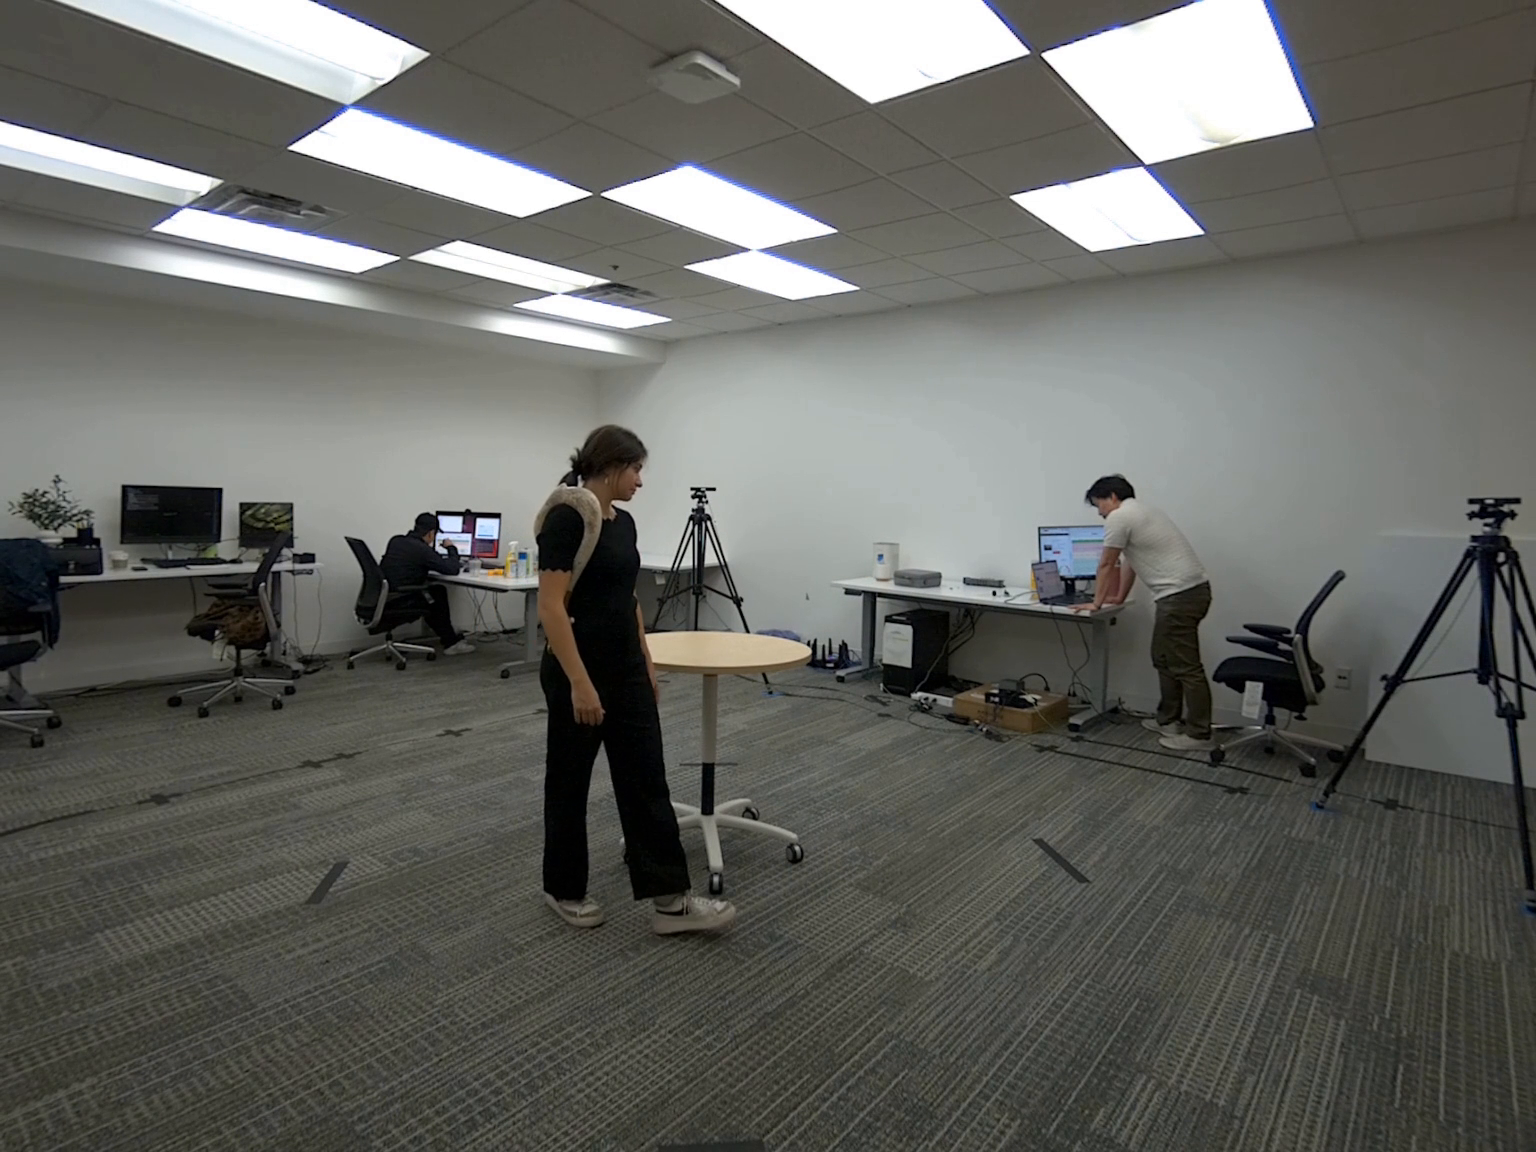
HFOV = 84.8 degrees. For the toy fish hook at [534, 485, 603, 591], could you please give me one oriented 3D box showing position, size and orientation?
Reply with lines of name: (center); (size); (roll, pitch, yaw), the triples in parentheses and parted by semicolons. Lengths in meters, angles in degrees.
toy fish hook: (-0.646, -0.026, 2.566); (0.231, 0.506, 0.047); (12, 1, 23)
